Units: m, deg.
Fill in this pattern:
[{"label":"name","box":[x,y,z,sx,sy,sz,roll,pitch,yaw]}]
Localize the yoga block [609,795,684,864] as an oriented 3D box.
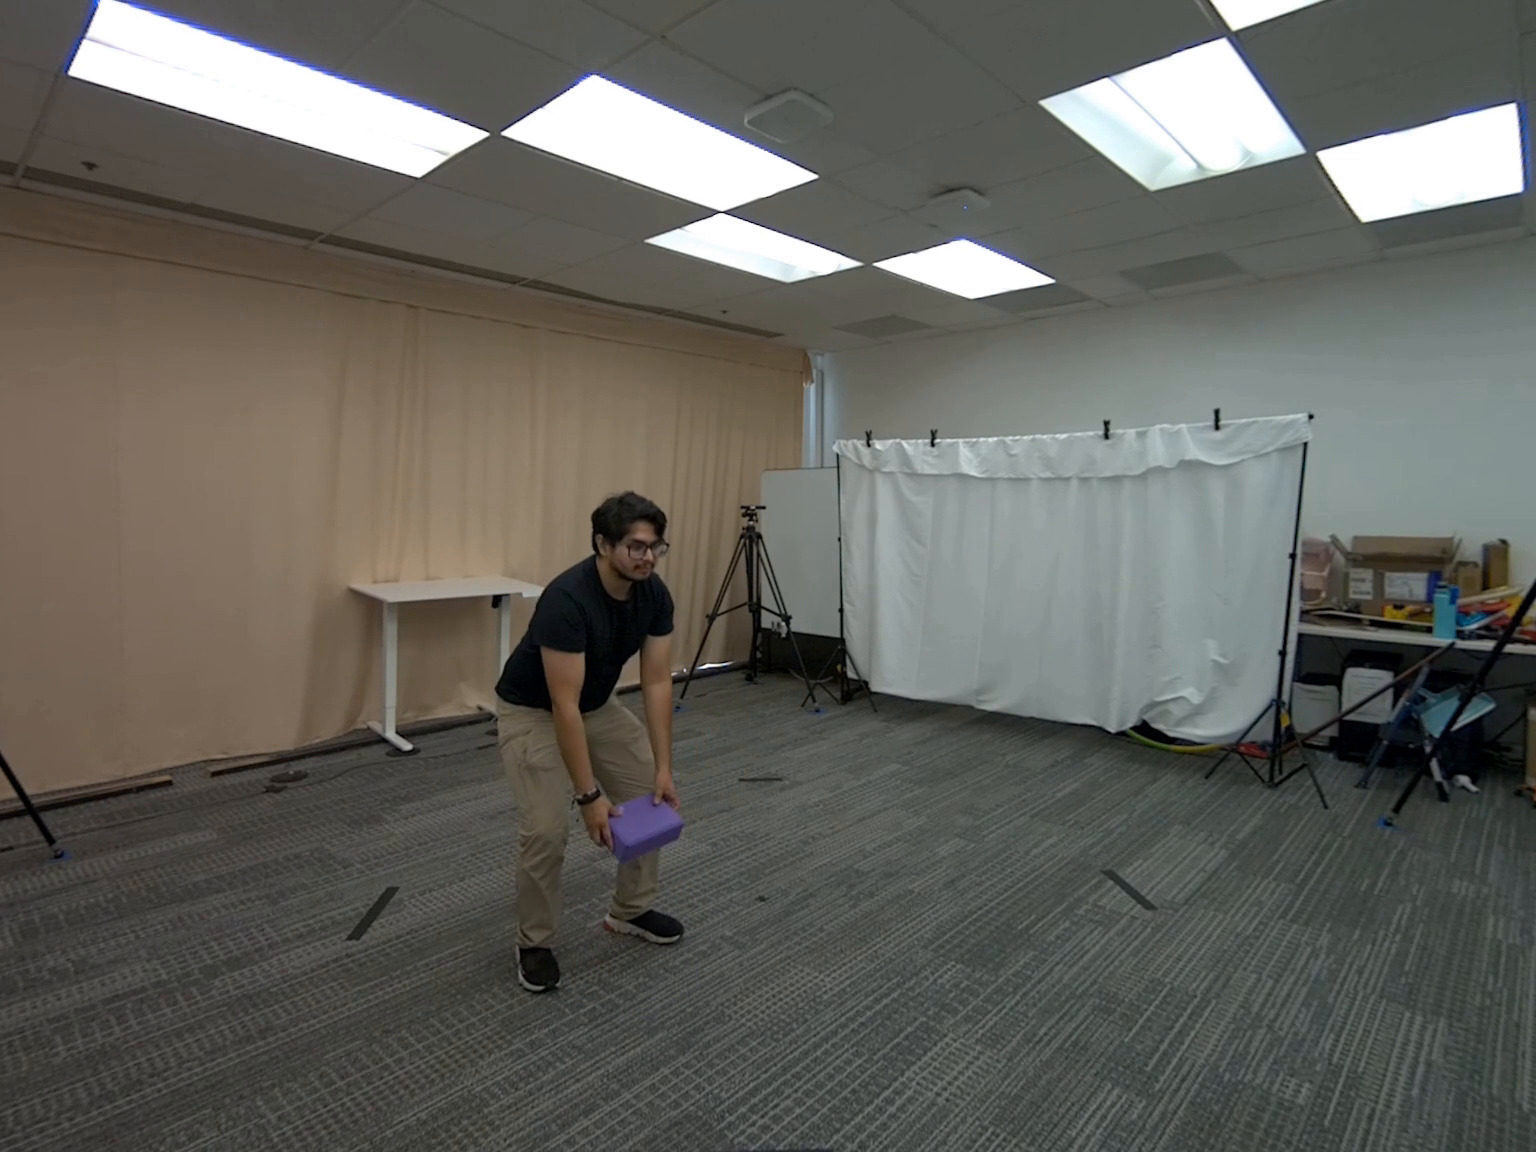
[{"label":"yoga block","box":[-0.377,0.723,2.417,0.154,0.076,0.223,30,22,33]}]
